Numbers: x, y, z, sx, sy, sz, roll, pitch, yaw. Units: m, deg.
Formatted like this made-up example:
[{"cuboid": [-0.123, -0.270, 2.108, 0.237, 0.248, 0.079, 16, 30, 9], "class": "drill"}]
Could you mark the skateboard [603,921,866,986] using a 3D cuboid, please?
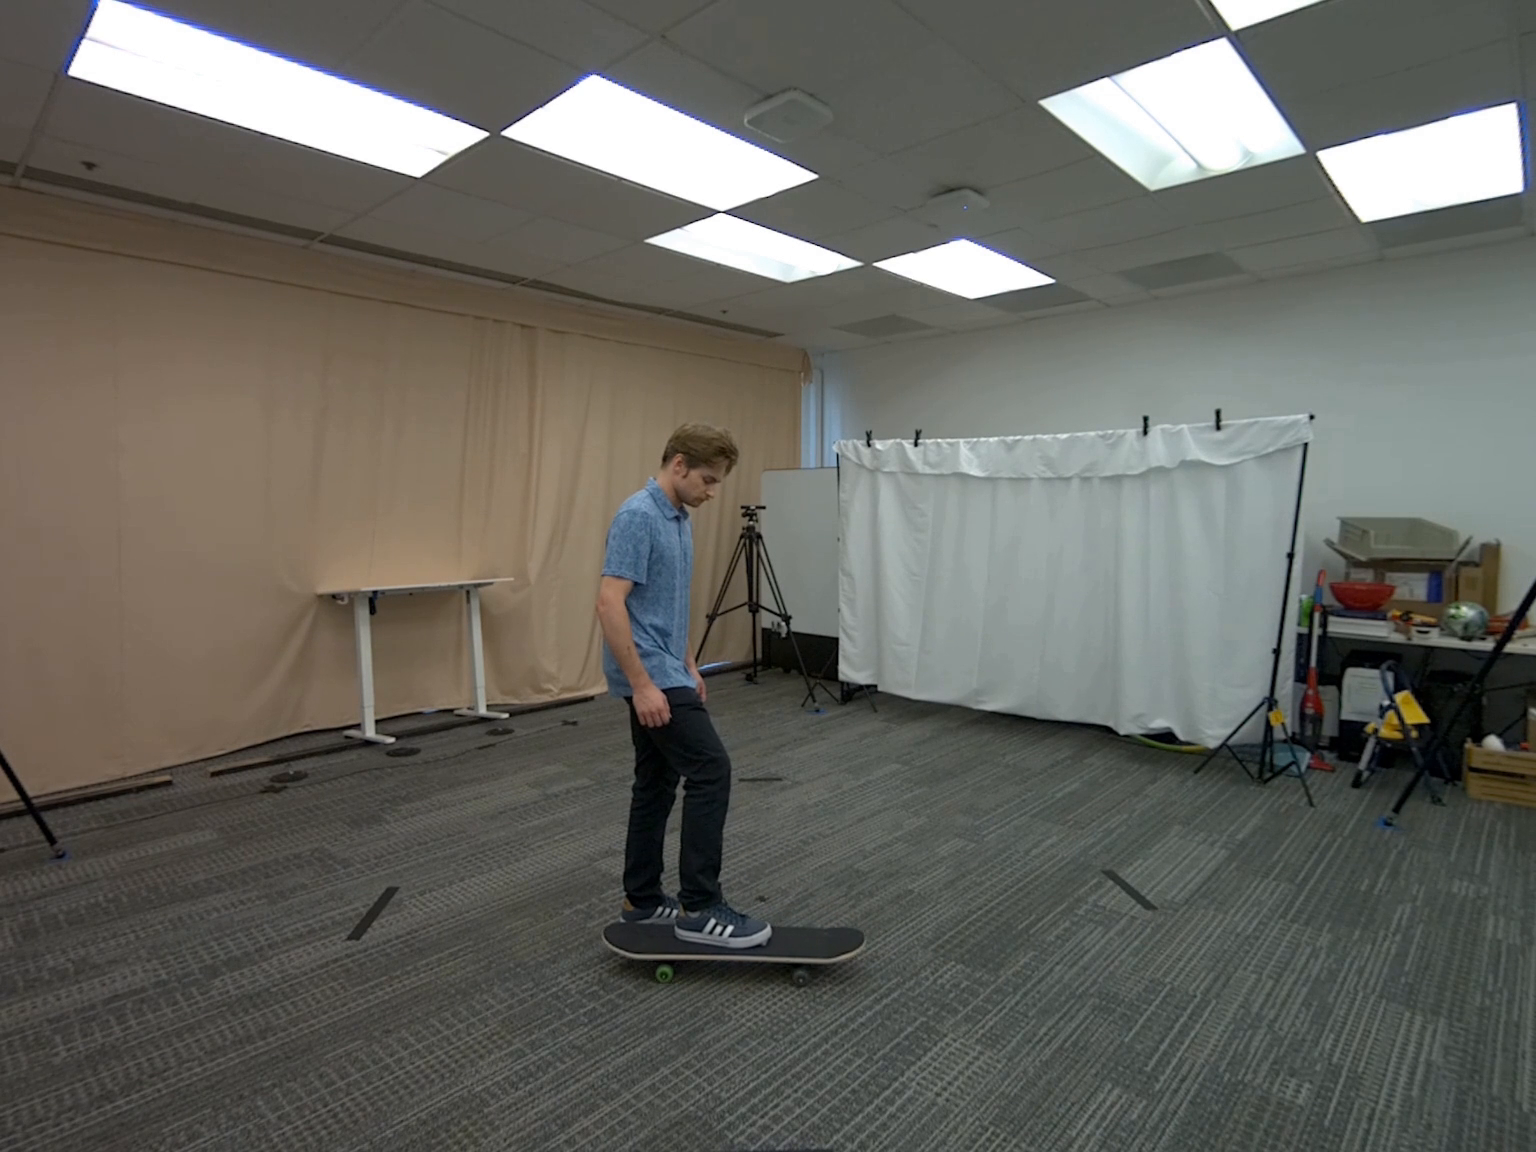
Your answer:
[{"cuboid": [-0.094, 1.121, 2.530, 0.788, 0.110, 0.193, 0, 3, 3], "class": "skateboard"}]
